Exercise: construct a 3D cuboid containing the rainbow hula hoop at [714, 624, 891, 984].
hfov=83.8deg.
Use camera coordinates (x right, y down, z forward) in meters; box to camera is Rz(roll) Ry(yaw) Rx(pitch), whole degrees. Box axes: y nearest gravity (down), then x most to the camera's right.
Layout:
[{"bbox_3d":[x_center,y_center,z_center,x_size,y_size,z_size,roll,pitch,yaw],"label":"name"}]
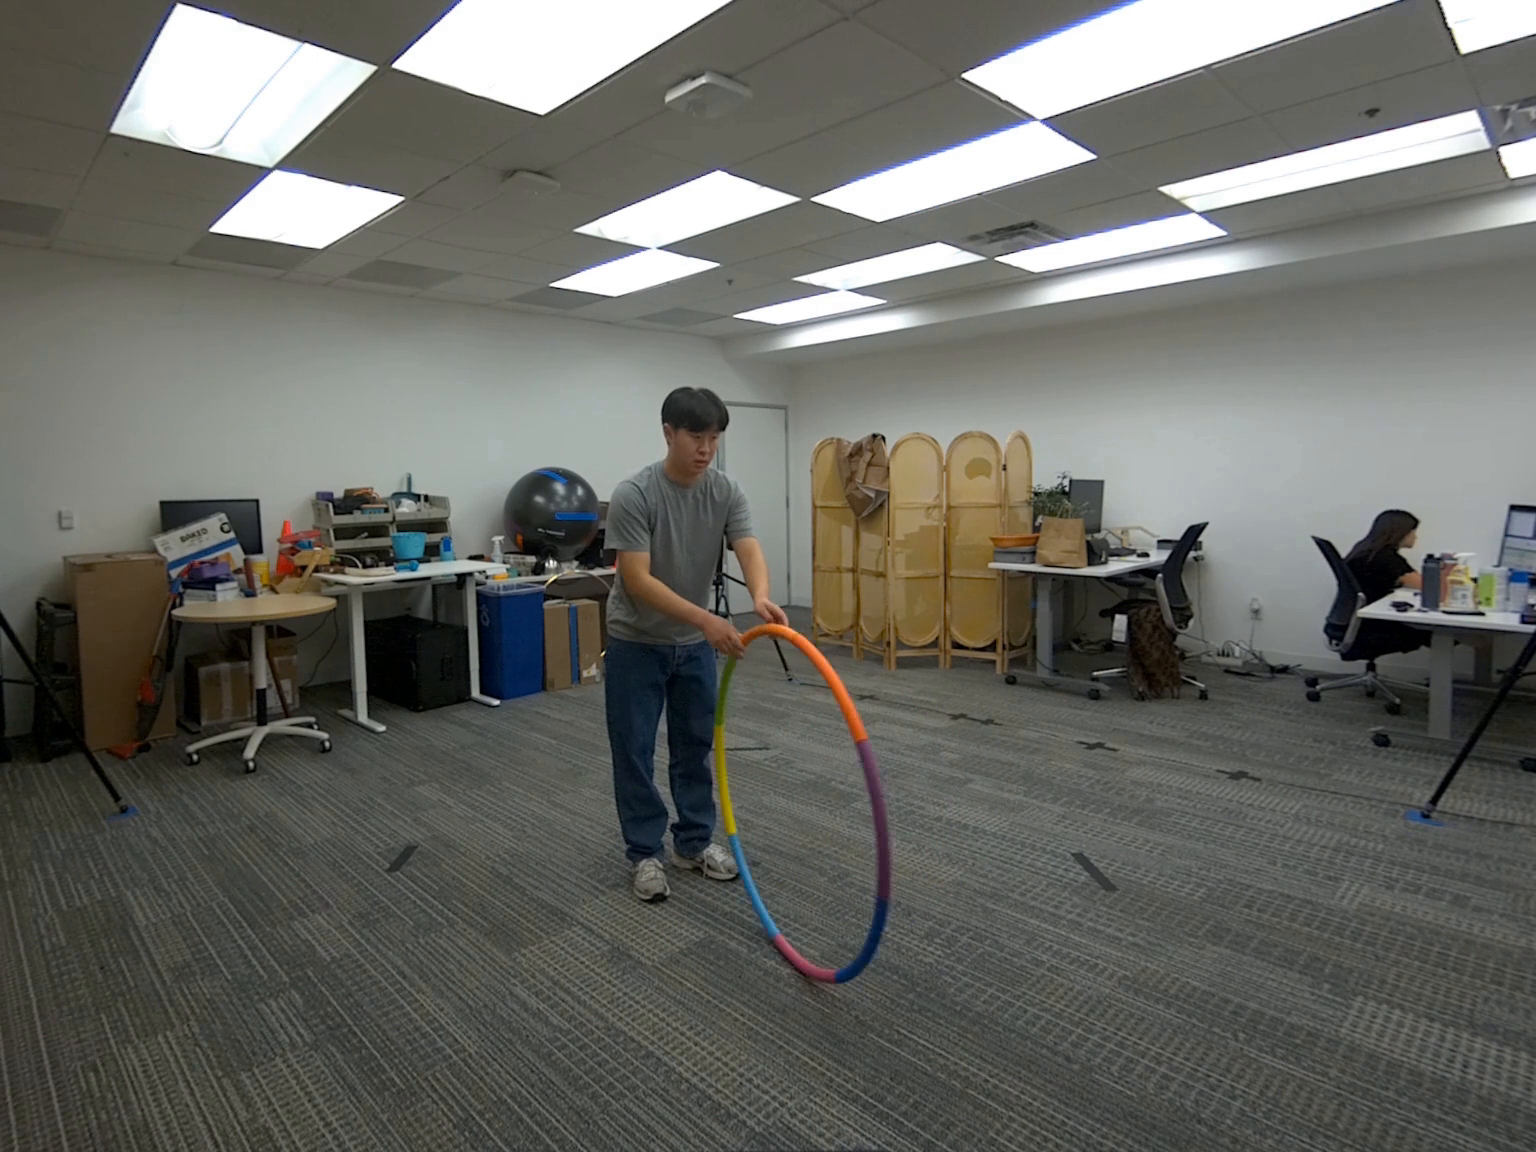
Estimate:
[{"bbox_3d":[0.054,0.634,2.449,0.035,0.975,1.003,-4,5,-26],"label":"rainbow hula hoop"}]
